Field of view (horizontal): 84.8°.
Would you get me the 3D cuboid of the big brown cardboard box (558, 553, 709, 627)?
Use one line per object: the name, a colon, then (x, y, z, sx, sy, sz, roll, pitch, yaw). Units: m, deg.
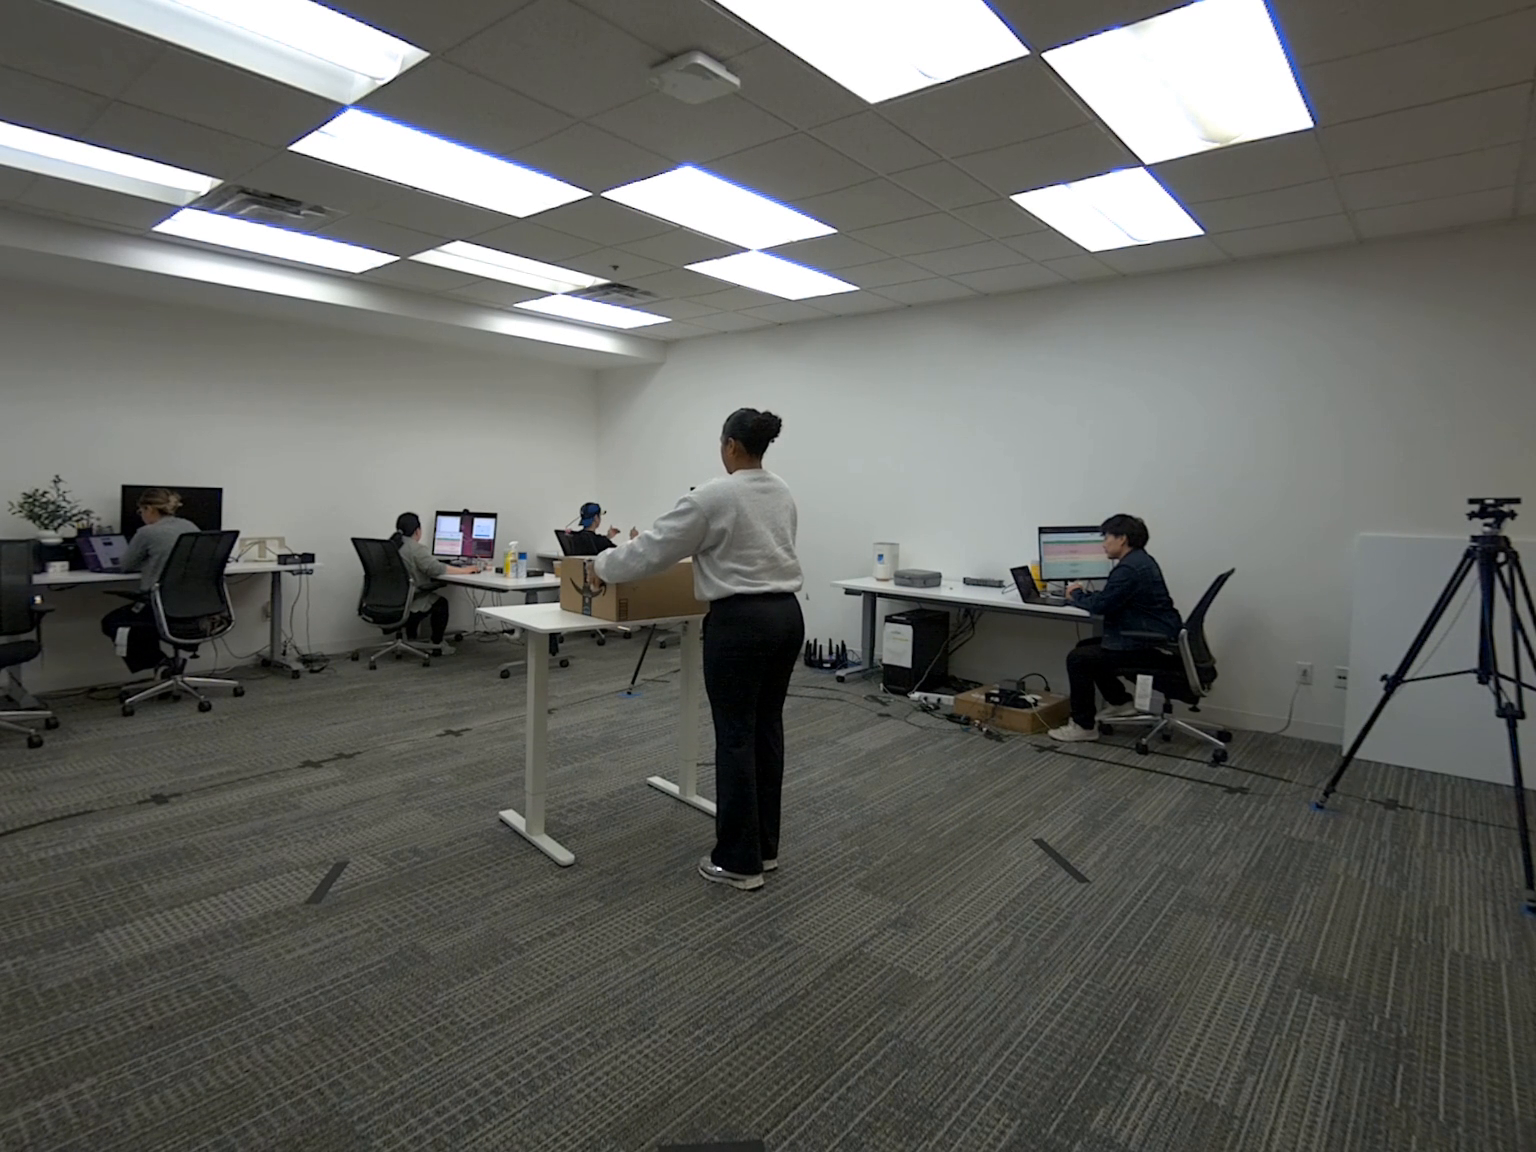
big brown cardboard box: (-0.510, 0.032, 3.504, 0.572, 0.232, 0.432, -5, 8, -43)
